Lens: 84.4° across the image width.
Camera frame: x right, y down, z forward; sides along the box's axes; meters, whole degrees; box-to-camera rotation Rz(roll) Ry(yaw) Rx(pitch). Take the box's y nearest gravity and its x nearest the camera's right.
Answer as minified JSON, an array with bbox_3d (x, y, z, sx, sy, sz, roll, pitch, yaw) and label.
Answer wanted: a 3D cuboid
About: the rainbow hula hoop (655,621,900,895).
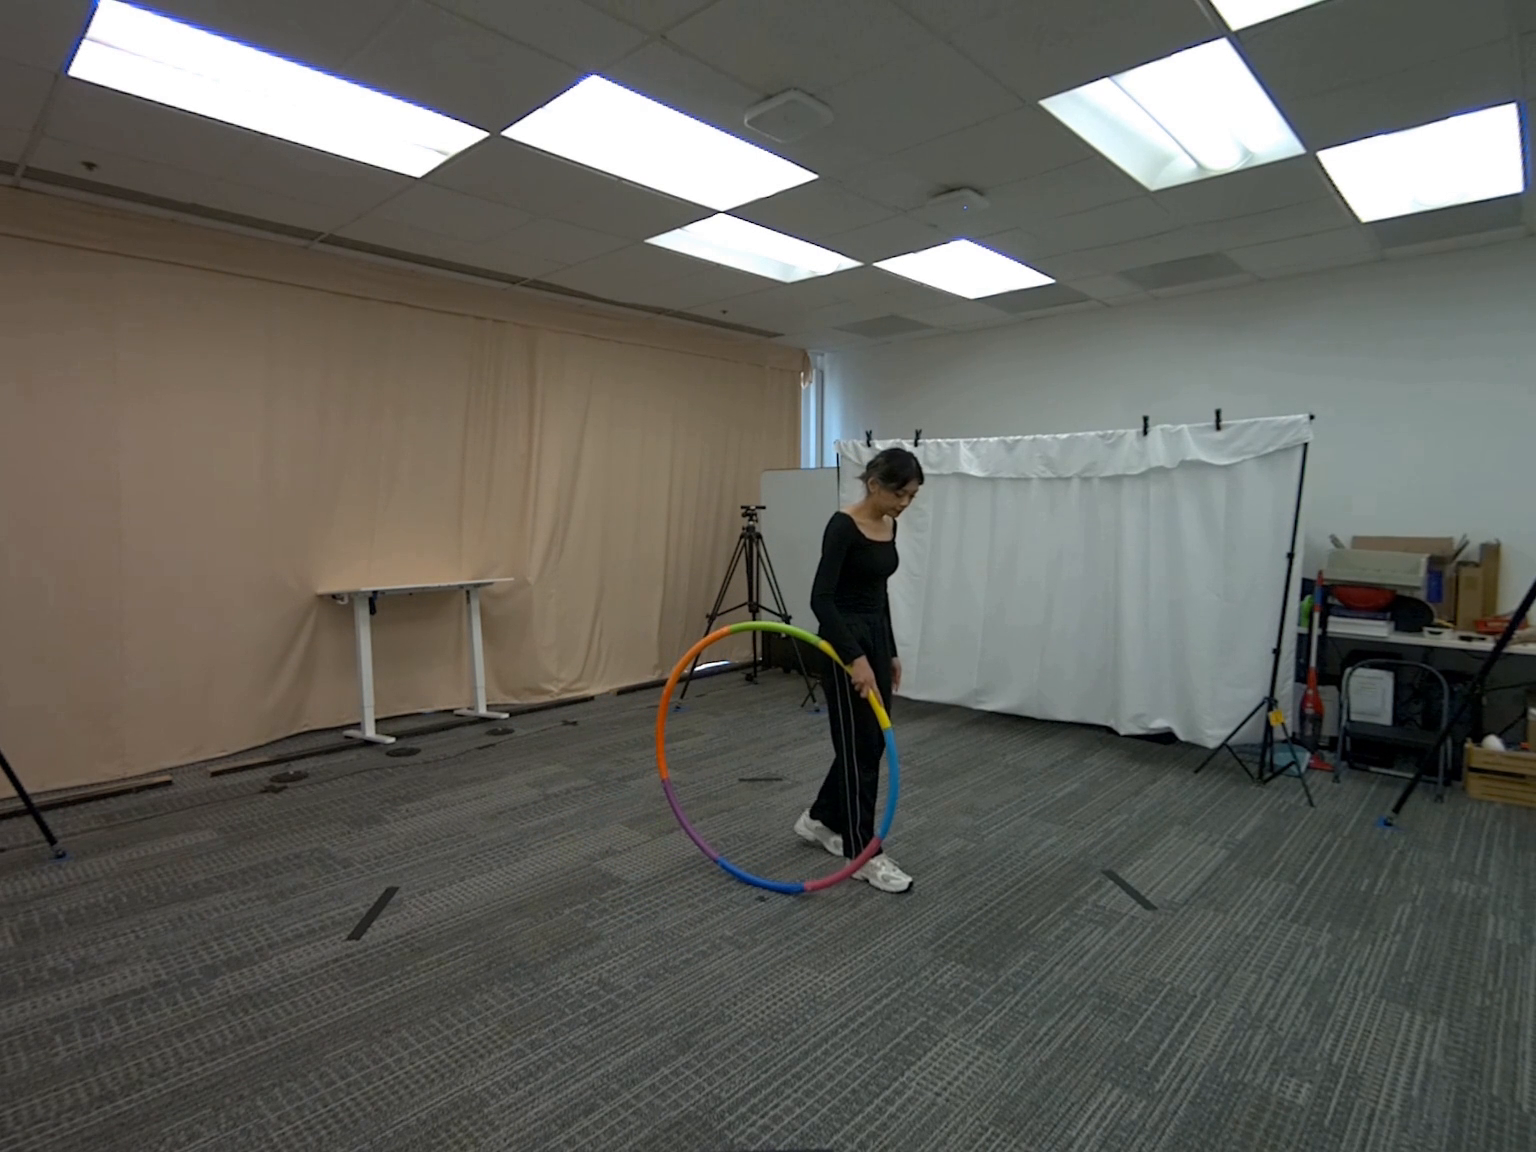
[{"bbox_3d":[-0.003,0.653,3.071,1.007,0.978,0.034,2,1,30],"label":"rainbow hula hoop"}]
